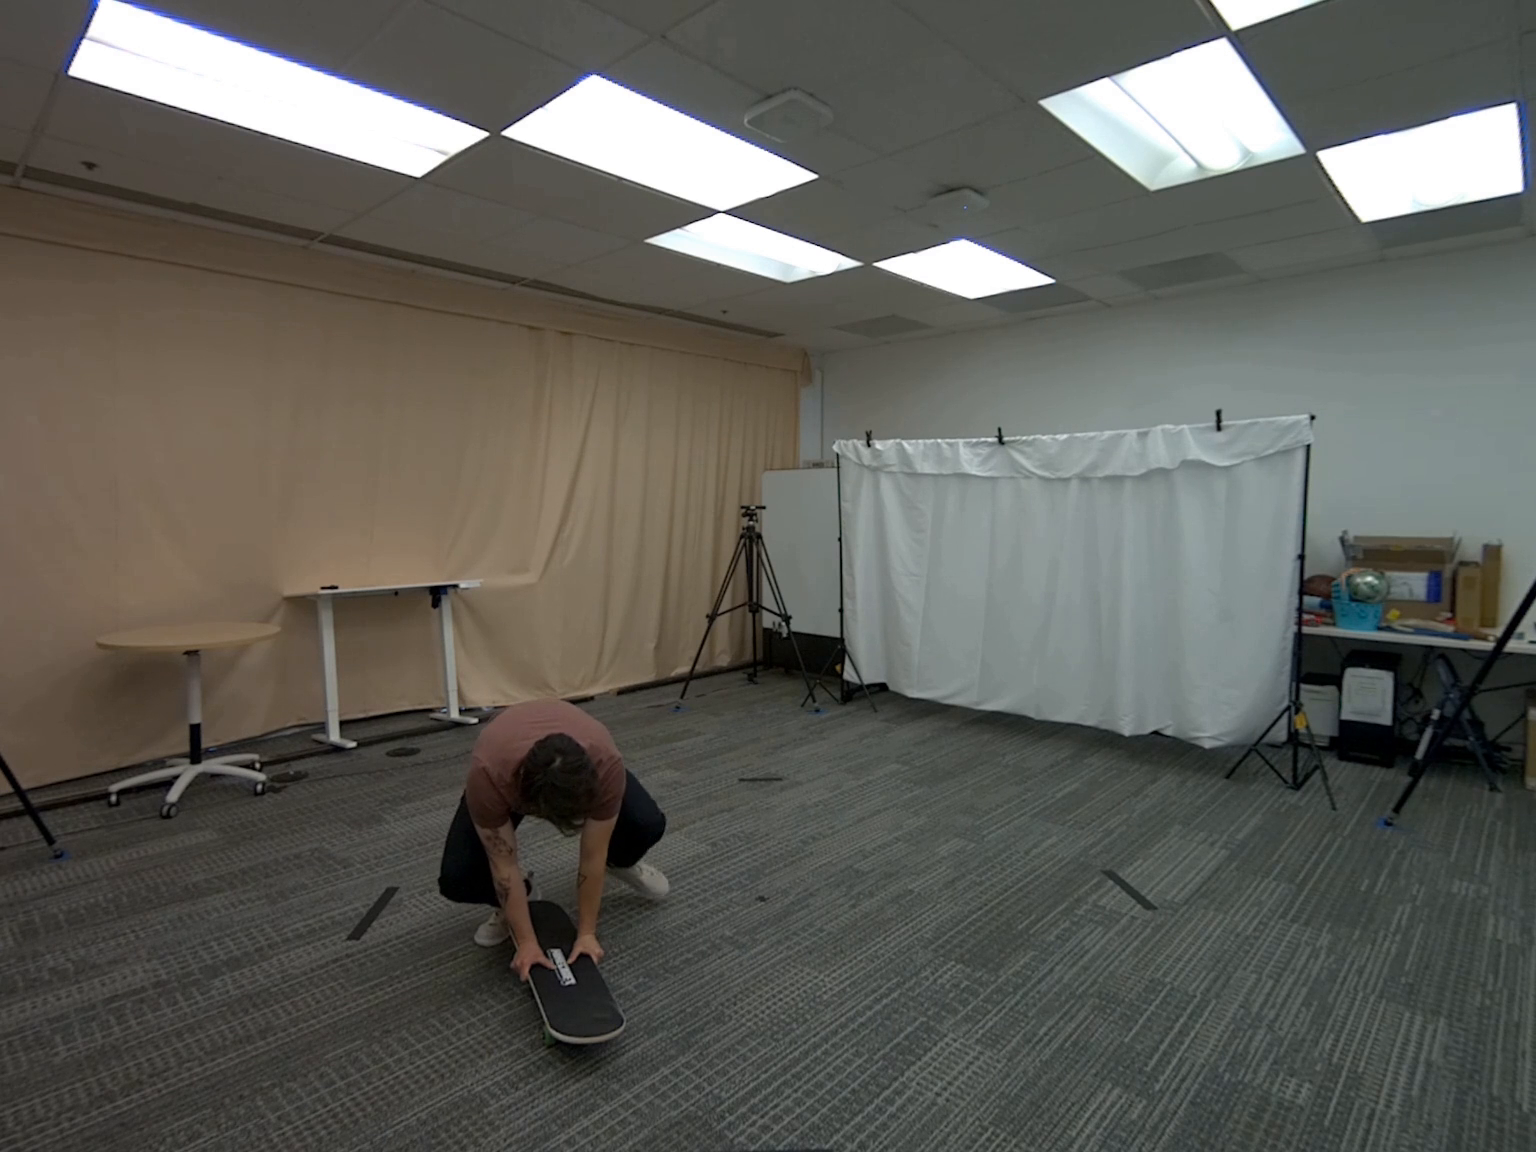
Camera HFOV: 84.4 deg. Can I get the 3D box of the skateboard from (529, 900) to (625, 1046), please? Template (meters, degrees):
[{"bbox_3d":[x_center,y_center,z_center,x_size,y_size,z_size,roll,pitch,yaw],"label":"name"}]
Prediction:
[{"bbox_3d":[-0.587,1.143,2.392,0.189,0.110,0.805,1,3,-25],"label":"skateboard"}]
